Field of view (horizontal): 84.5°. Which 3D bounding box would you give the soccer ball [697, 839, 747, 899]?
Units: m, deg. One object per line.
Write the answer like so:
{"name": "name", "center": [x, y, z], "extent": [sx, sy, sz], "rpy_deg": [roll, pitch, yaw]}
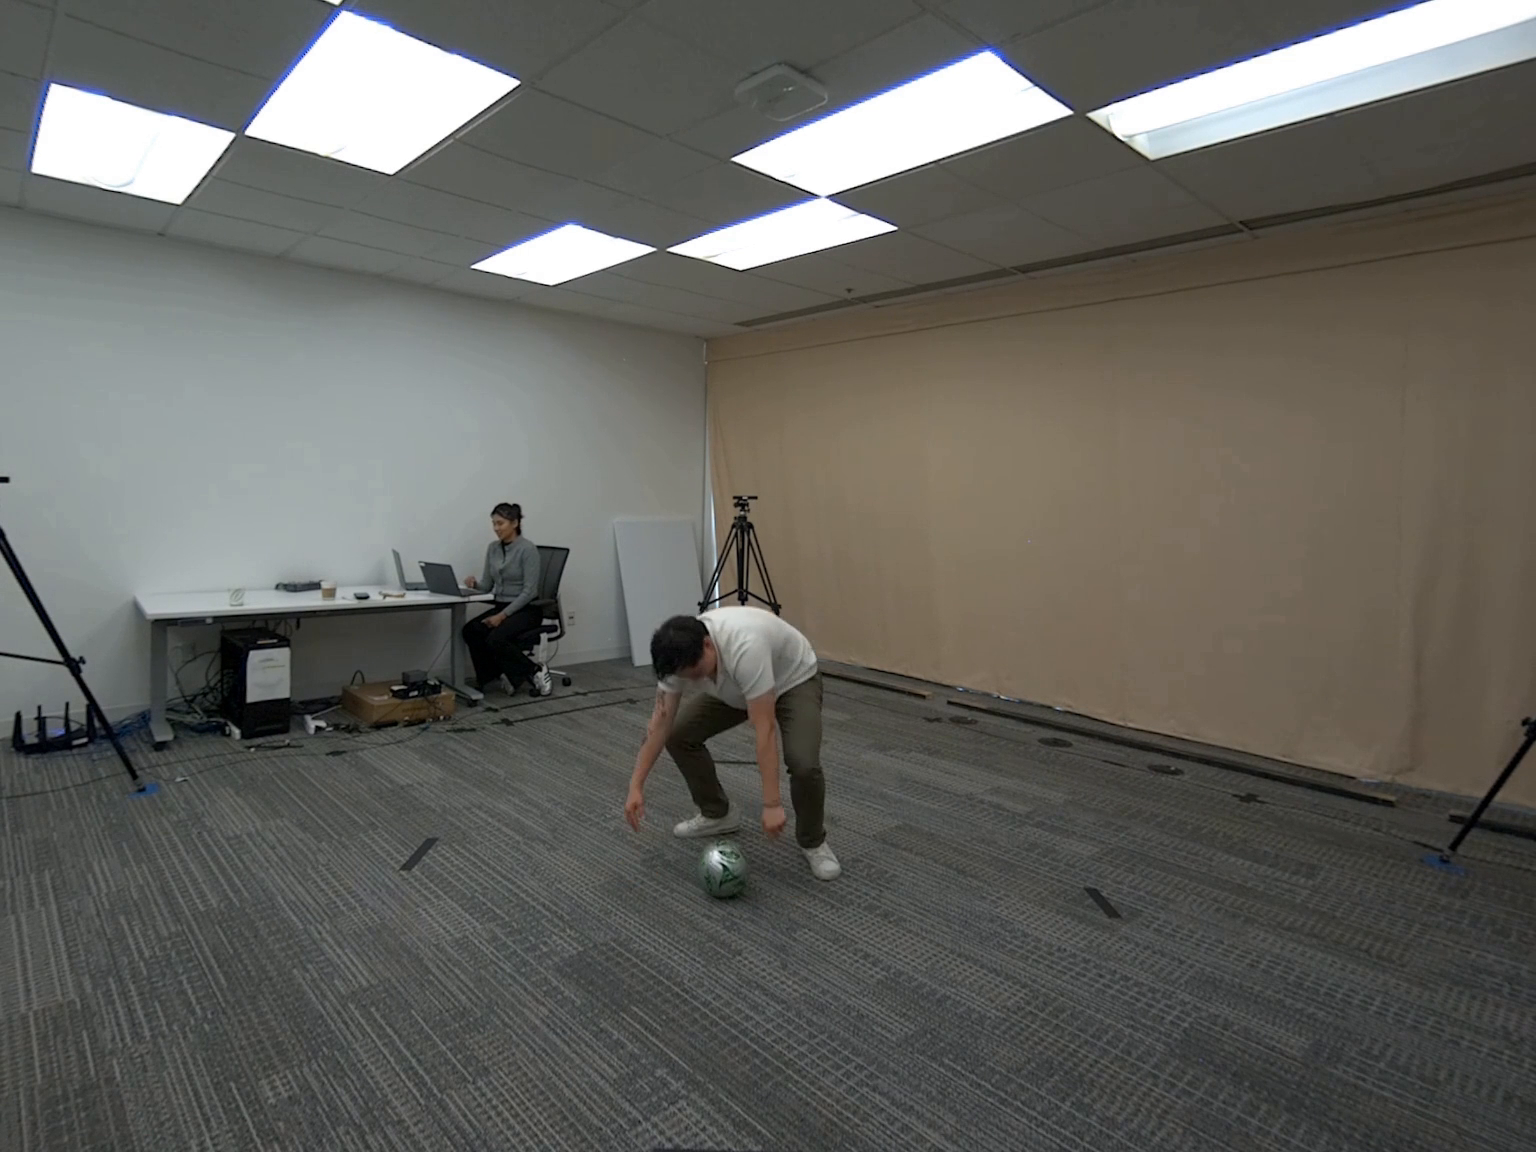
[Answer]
{"name": "soccer ball", "center": [-0.167, 1.025, 2.942], "extent": [0.187, 0.187, 0.188], "rpy_deg": [1, 4, -1]}
